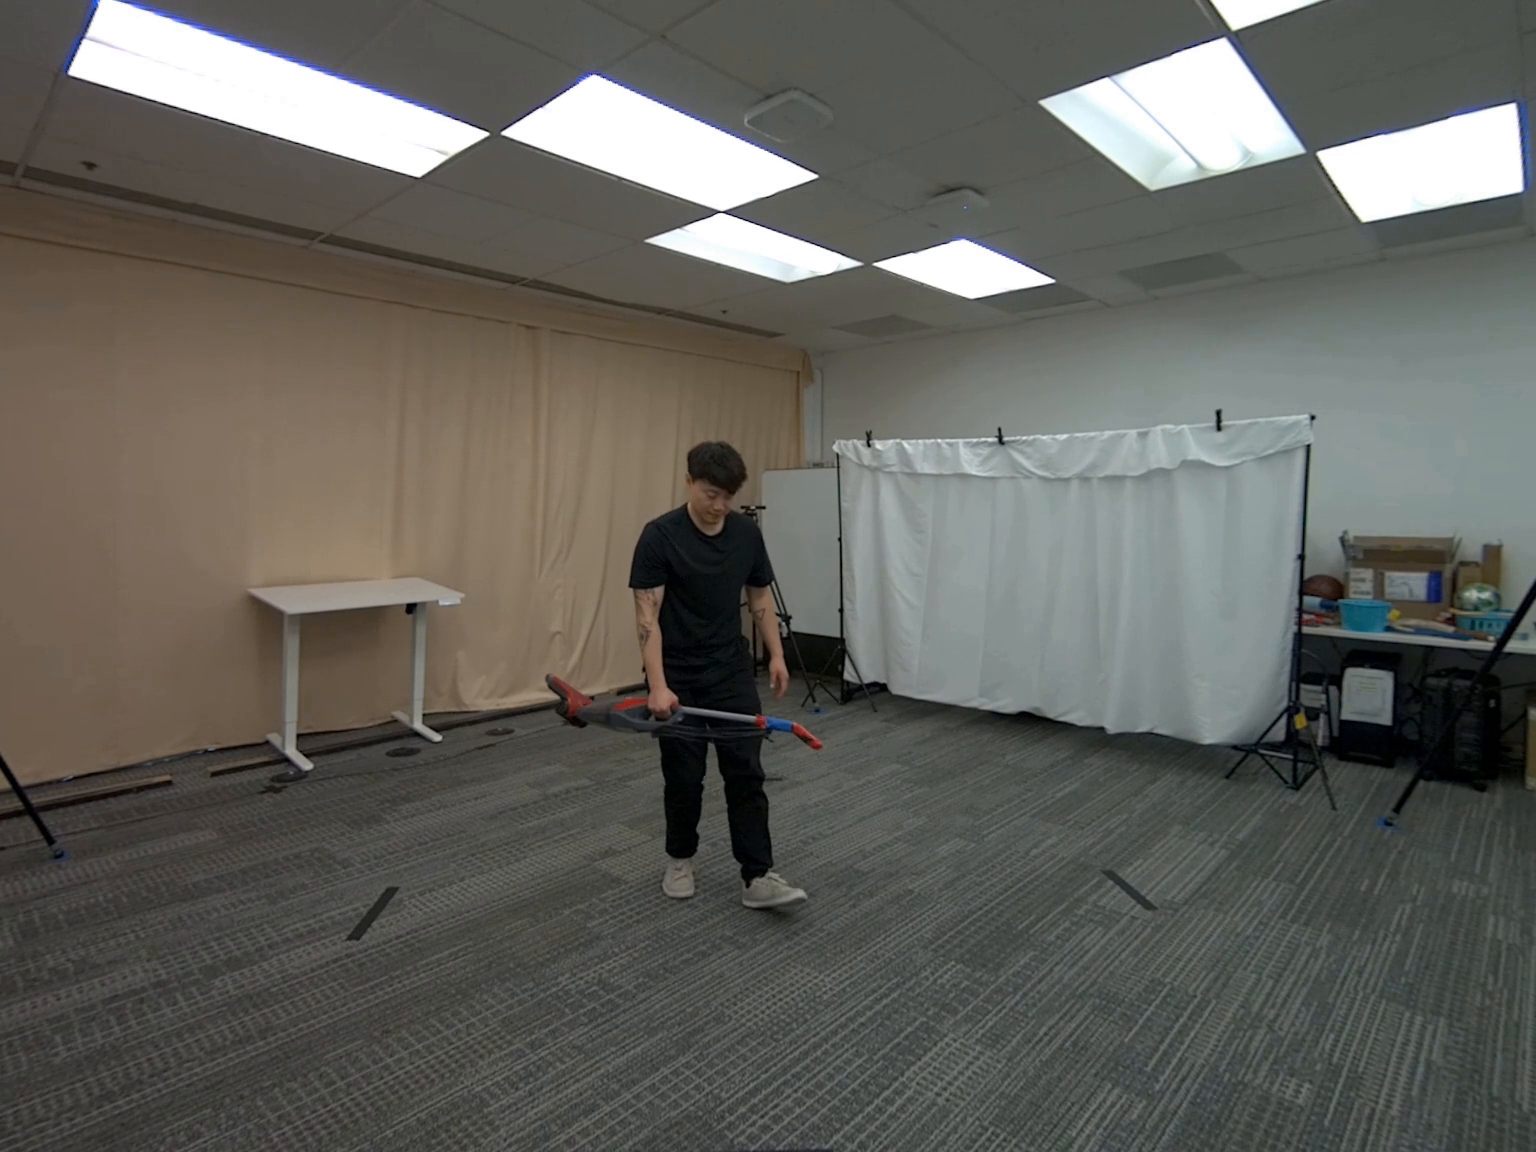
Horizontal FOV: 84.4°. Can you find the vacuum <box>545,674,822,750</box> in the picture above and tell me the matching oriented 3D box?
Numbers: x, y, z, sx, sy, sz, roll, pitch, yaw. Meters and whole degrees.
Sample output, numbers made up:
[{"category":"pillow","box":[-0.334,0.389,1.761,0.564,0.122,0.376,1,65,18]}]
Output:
[{"category":"vacuum","box":[-0.290,0.483,2.739,1.082,0.144,0.244,2,-32,36]}]
